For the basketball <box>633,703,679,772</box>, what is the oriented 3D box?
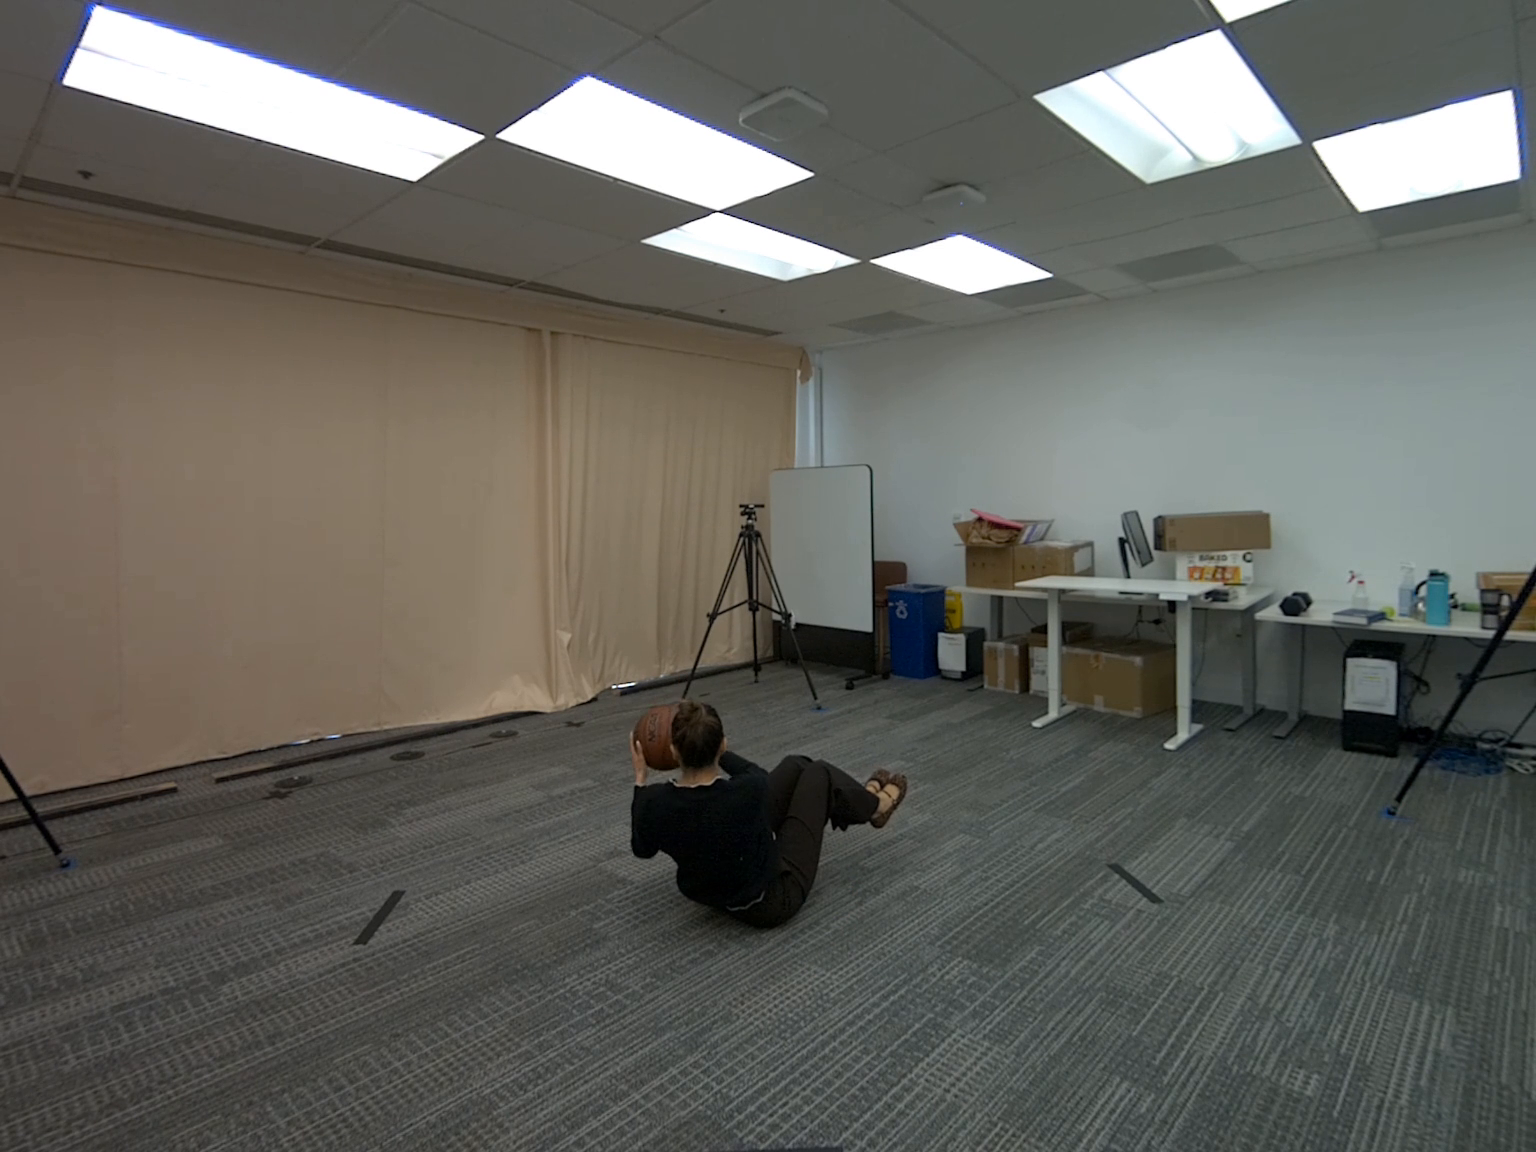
[{"bbox_3d":[-0.364,0.598,3.110,0.236,0.235,0.237,-1,4,-2],"label":"basketball"}]
